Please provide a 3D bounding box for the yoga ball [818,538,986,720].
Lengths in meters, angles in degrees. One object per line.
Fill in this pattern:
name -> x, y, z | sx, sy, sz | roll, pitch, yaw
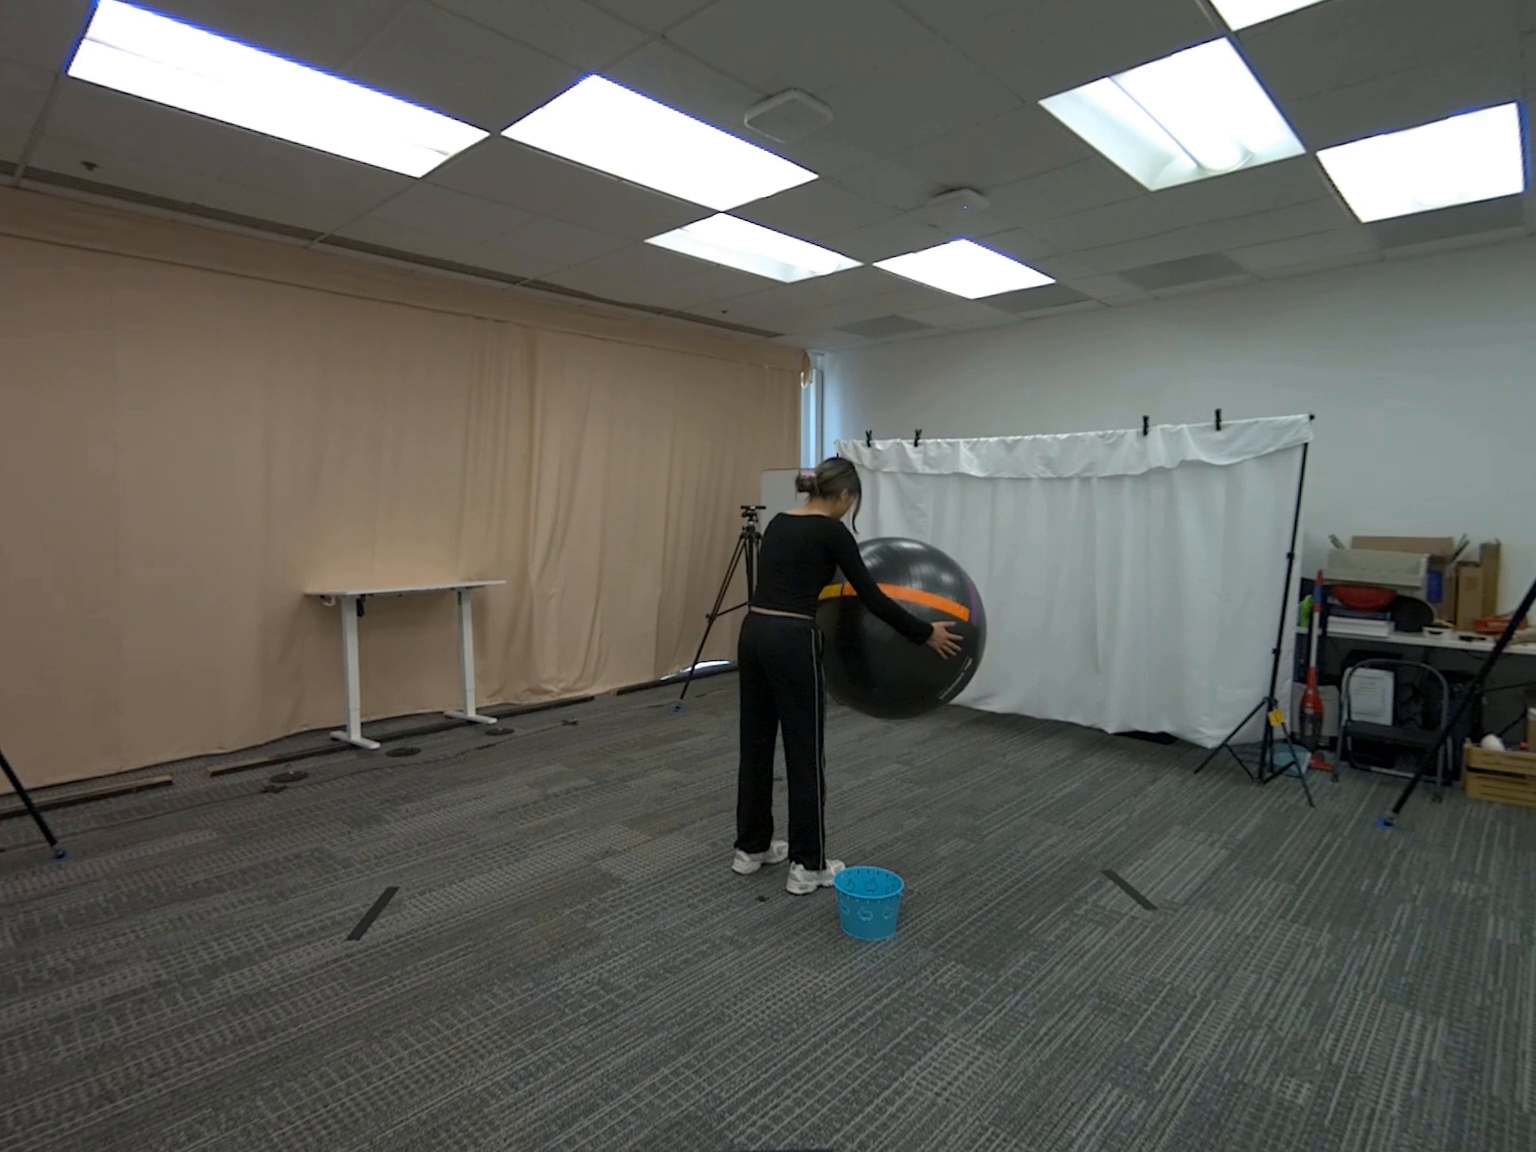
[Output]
yoga ball -> 0.534, 0.218, 3.531 | 0.757, 0.756, 0.760 | 0, 4, -2
